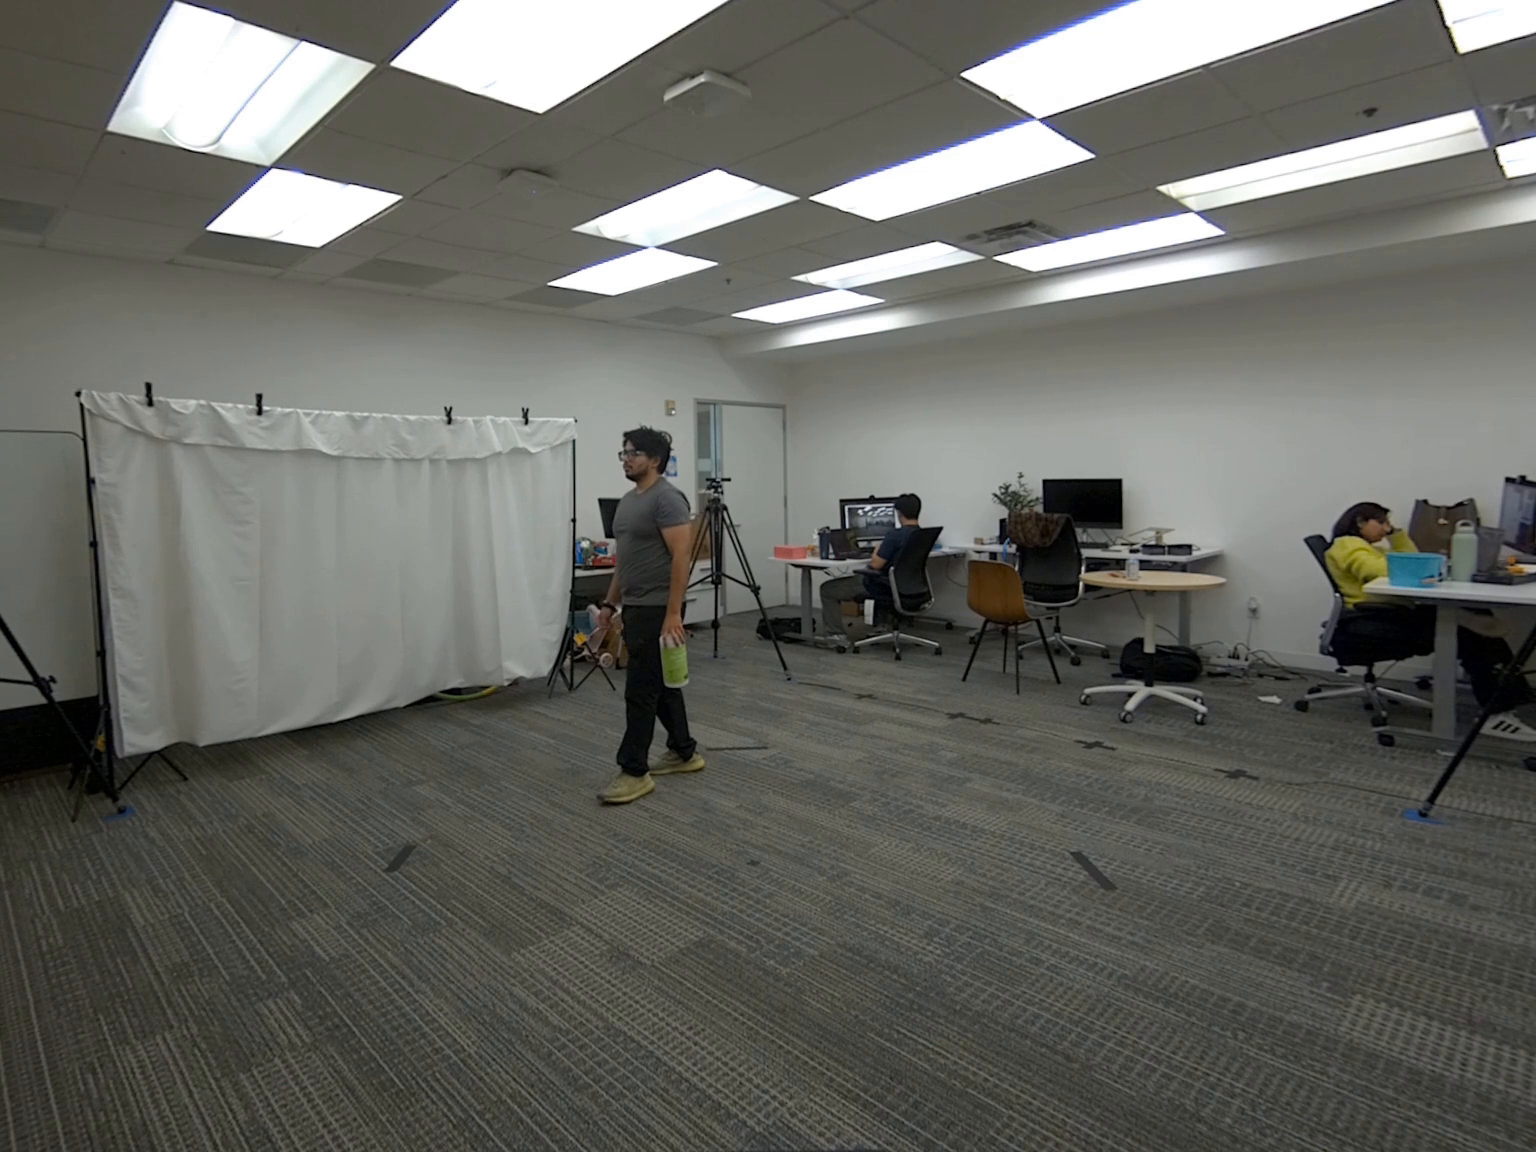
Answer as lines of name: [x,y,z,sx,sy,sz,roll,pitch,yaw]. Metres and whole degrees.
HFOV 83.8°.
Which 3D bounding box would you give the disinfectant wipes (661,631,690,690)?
disinfectant wipes: [-0.406,0.361,3.678,0.118,0.214,0.119,-3,15,-1]
